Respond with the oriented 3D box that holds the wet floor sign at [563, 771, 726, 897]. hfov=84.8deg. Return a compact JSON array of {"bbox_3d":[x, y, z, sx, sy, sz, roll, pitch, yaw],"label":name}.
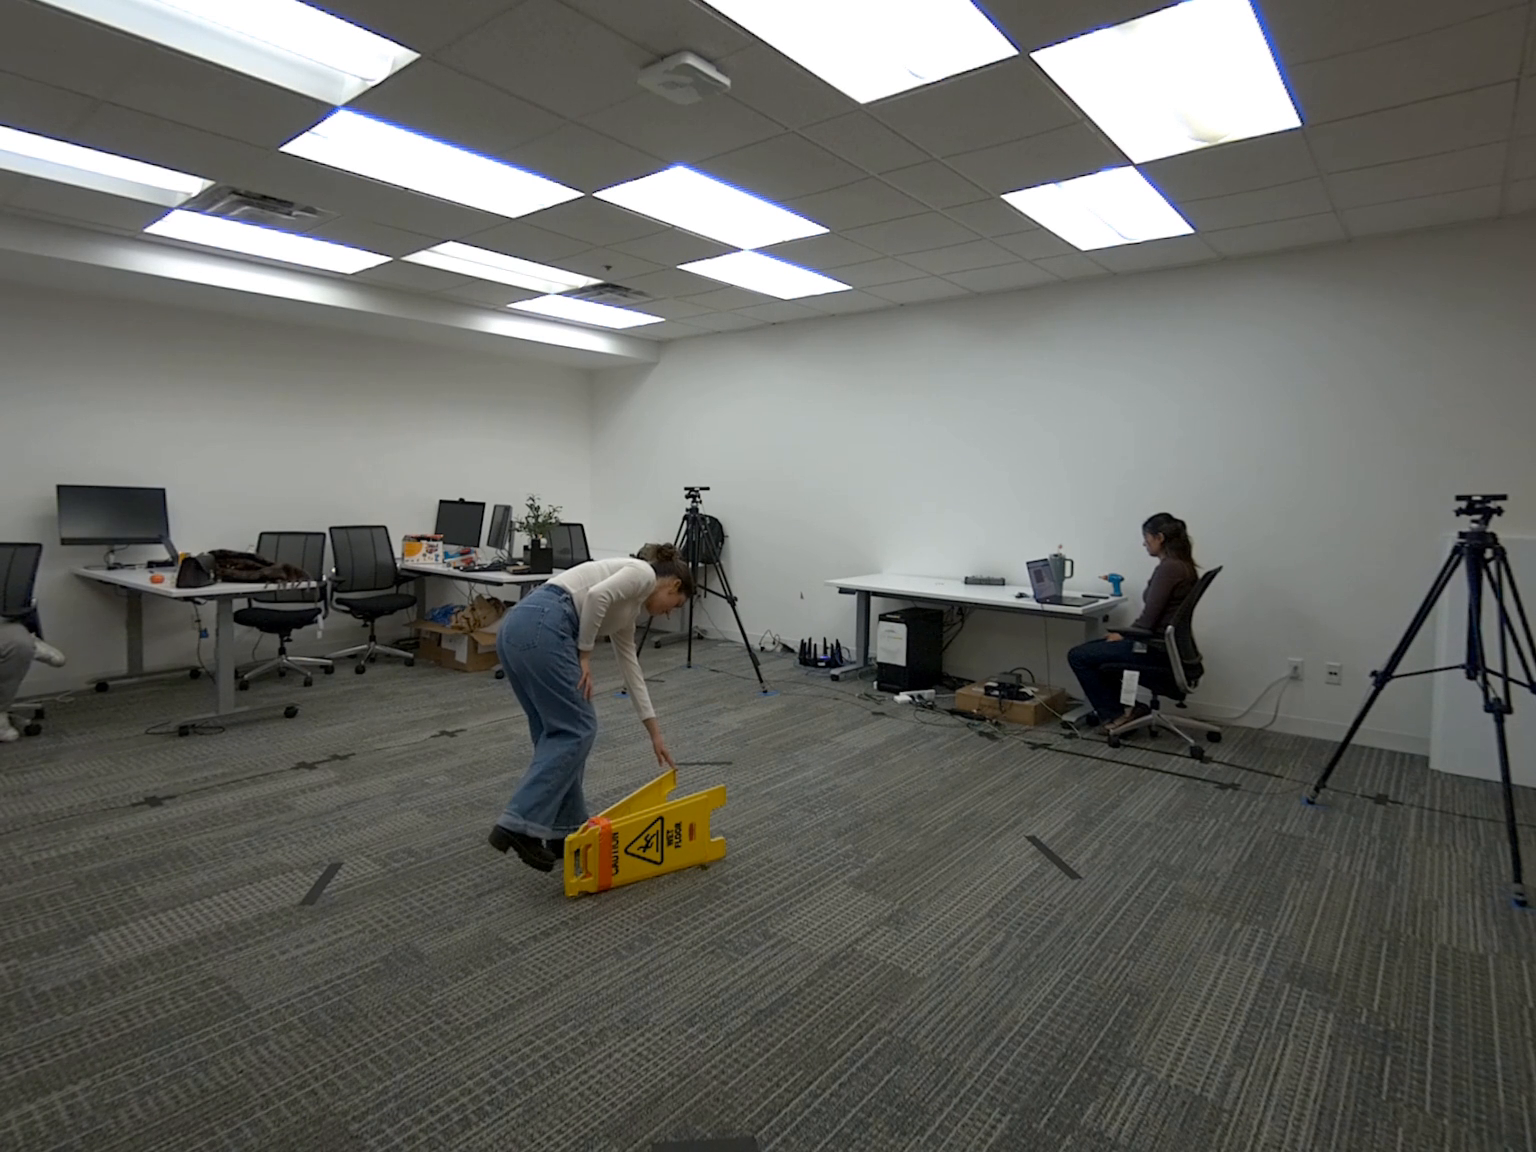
[{"bbox_3d":[-0.474,0.939,3.052,0.299,0.281,0.628,3,7,40],"label":"wet floor sign"}]
